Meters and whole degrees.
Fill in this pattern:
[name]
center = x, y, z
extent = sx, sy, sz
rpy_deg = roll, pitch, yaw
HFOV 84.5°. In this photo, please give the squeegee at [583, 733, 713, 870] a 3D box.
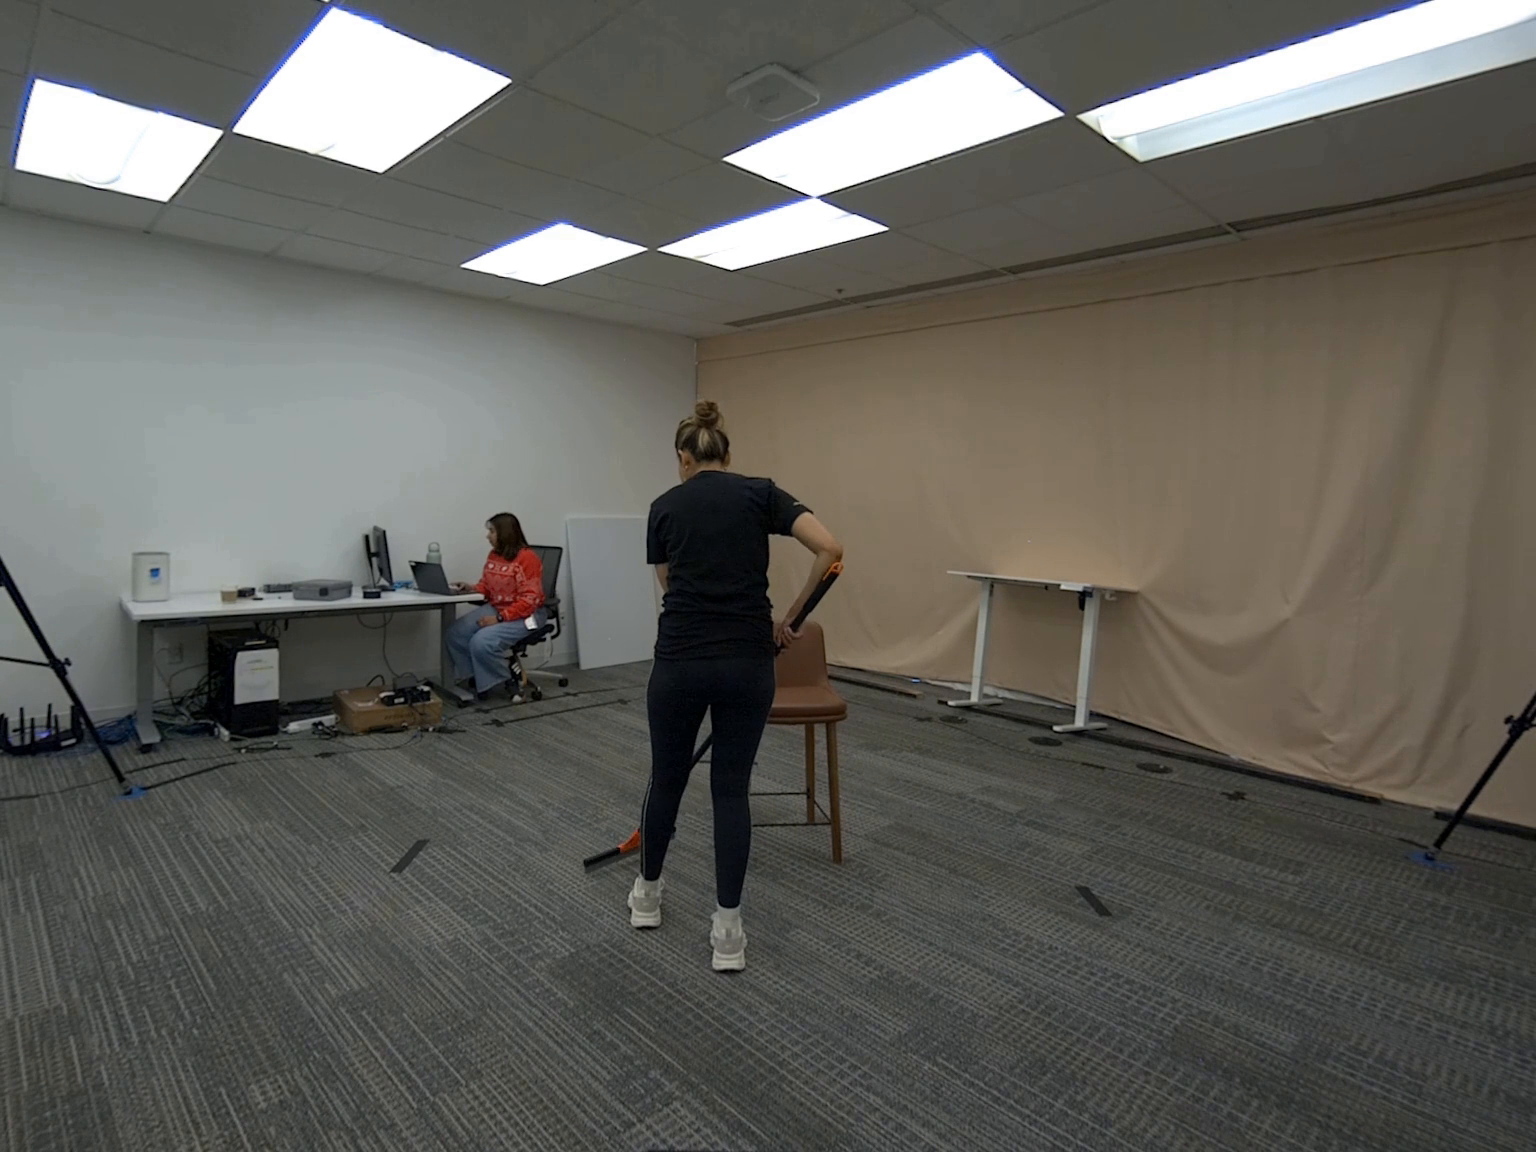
[squeegee]
center = -0.158, 0.489, 2.816
extent = 0.428, 1.532, 0.054
rpy_deg = -6, 50, -48
